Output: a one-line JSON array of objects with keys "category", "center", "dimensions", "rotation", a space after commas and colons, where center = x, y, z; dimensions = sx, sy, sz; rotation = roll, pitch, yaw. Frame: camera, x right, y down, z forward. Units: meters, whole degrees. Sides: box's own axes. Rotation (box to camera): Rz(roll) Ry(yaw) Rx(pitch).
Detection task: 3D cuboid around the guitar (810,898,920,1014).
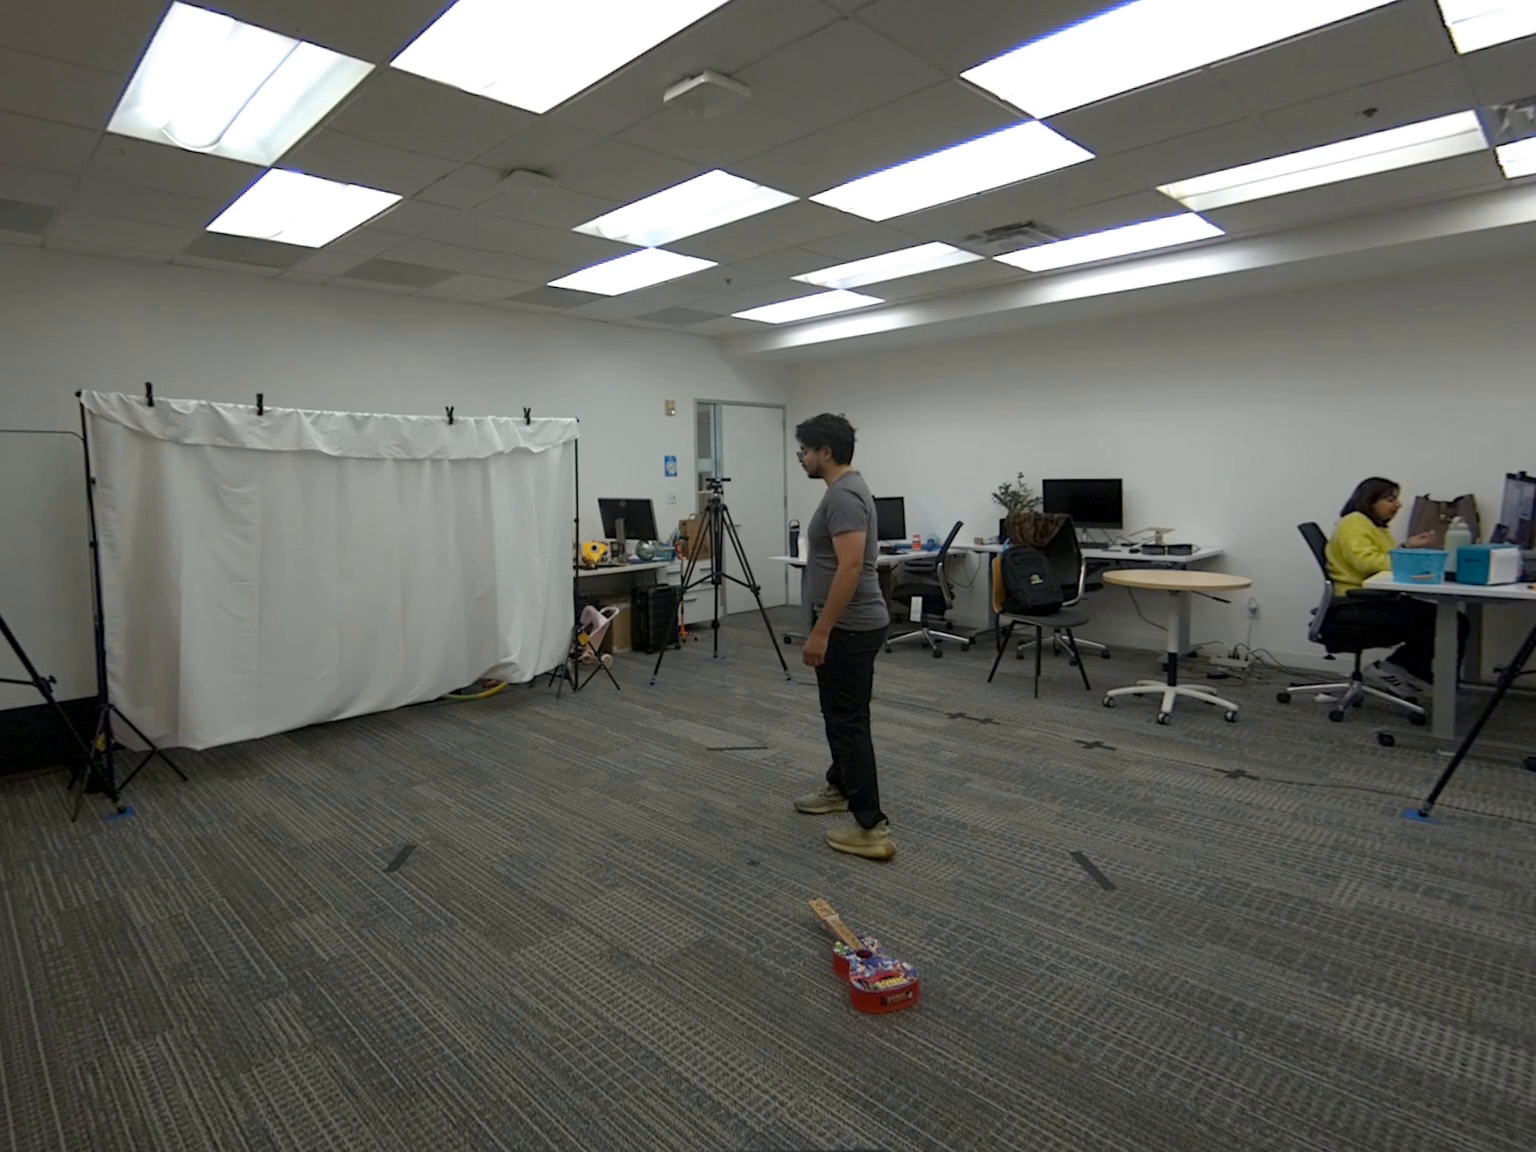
[{"category": "guitar", "center": [0.278, 1.078, 2.468], "dimensions": [0.191, 0.070, 0.505], "rotation": [-2, 7, -12]}]
